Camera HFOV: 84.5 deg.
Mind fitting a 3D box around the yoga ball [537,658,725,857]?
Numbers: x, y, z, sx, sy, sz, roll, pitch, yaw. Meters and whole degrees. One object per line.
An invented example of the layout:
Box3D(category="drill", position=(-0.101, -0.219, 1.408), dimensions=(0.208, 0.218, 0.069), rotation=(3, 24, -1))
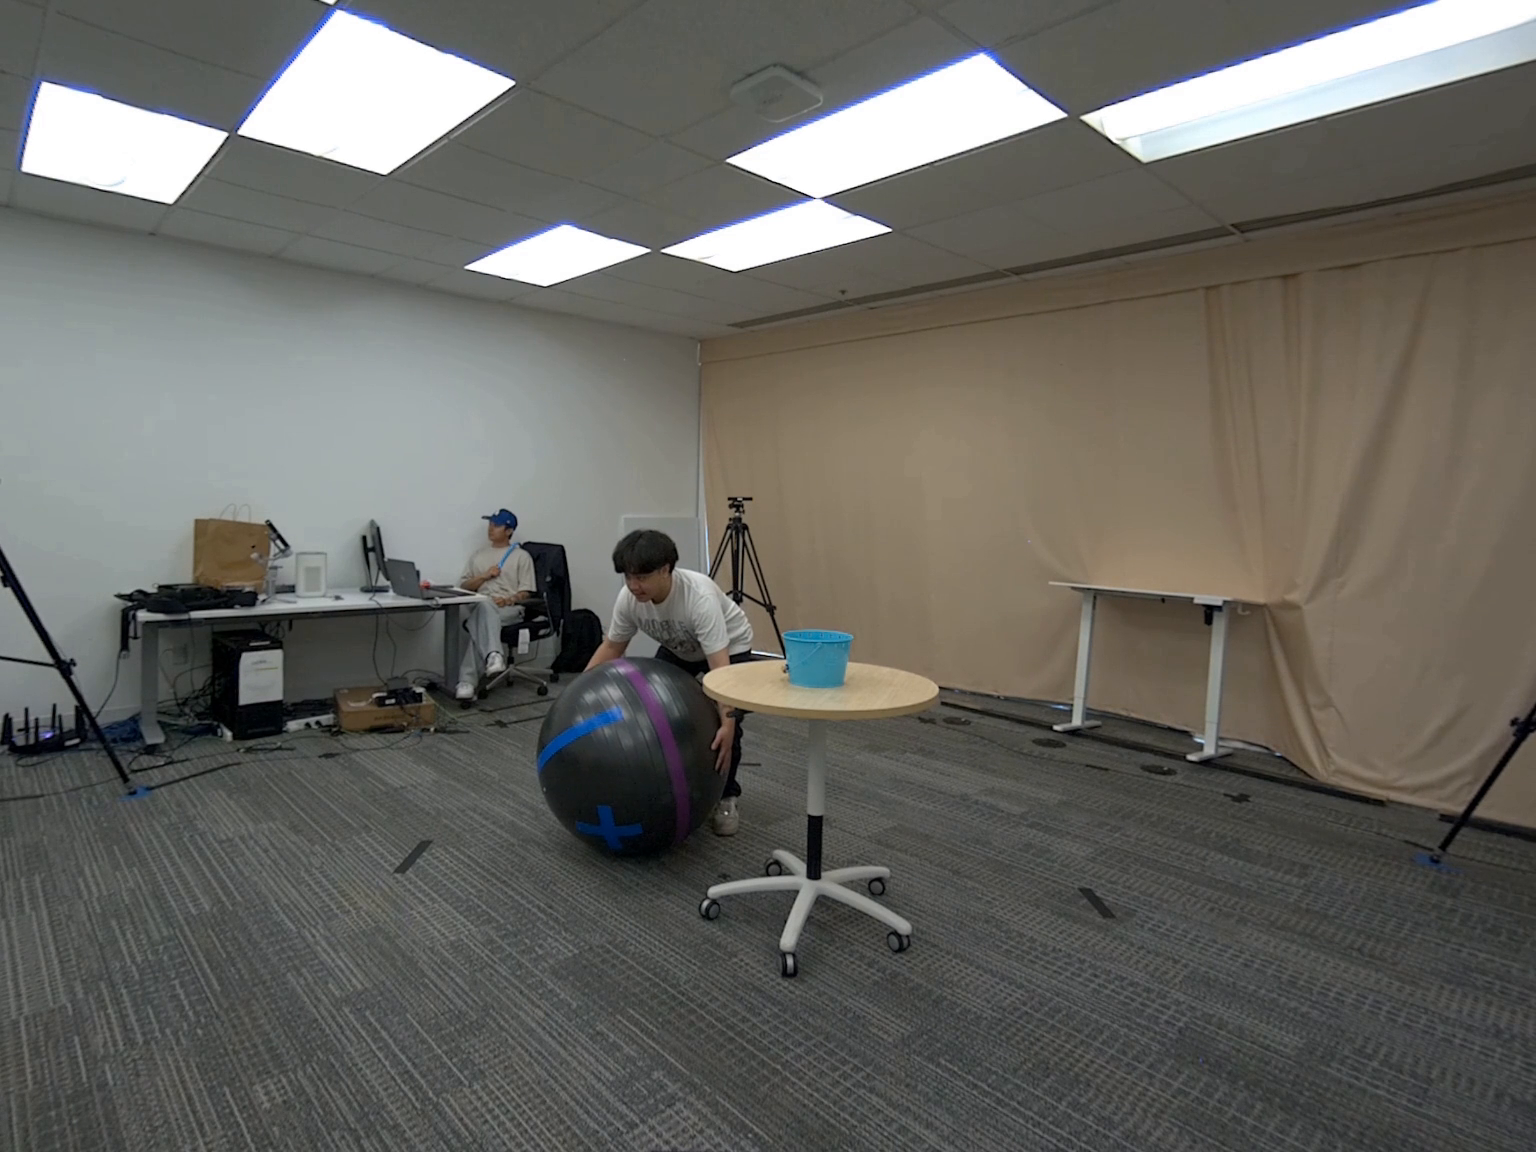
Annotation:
Box3D(category="yoga ball", position=(-0.547, 0.714, 3.334), dimensions=(0.757, 0.756, 0.761), rotation=(1, 4, -1))
